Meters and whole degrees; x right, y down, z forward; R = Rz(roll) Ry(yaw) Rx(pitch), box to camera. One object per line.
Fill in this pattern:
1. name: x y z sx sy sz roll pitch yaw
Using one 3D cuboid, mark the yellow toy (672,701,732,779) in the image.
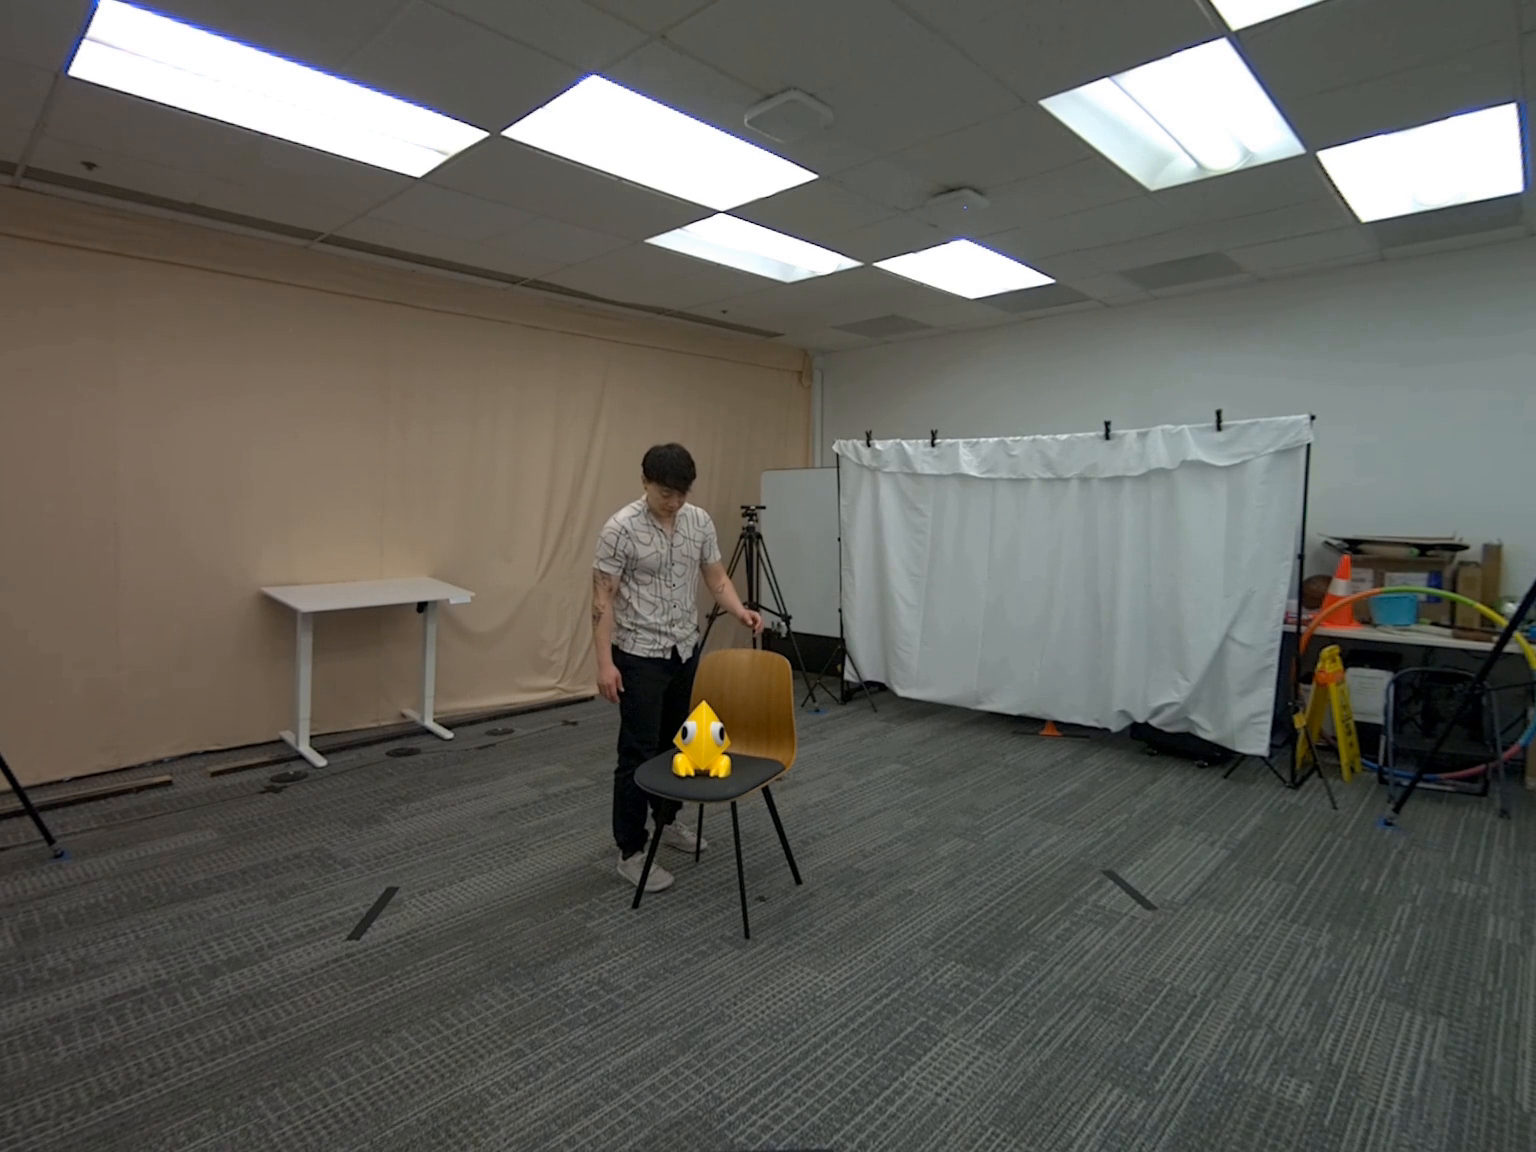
1. yellow toy: -0.221 0.555 2.905 0.204 0.231 0.194 3 -1 -4
